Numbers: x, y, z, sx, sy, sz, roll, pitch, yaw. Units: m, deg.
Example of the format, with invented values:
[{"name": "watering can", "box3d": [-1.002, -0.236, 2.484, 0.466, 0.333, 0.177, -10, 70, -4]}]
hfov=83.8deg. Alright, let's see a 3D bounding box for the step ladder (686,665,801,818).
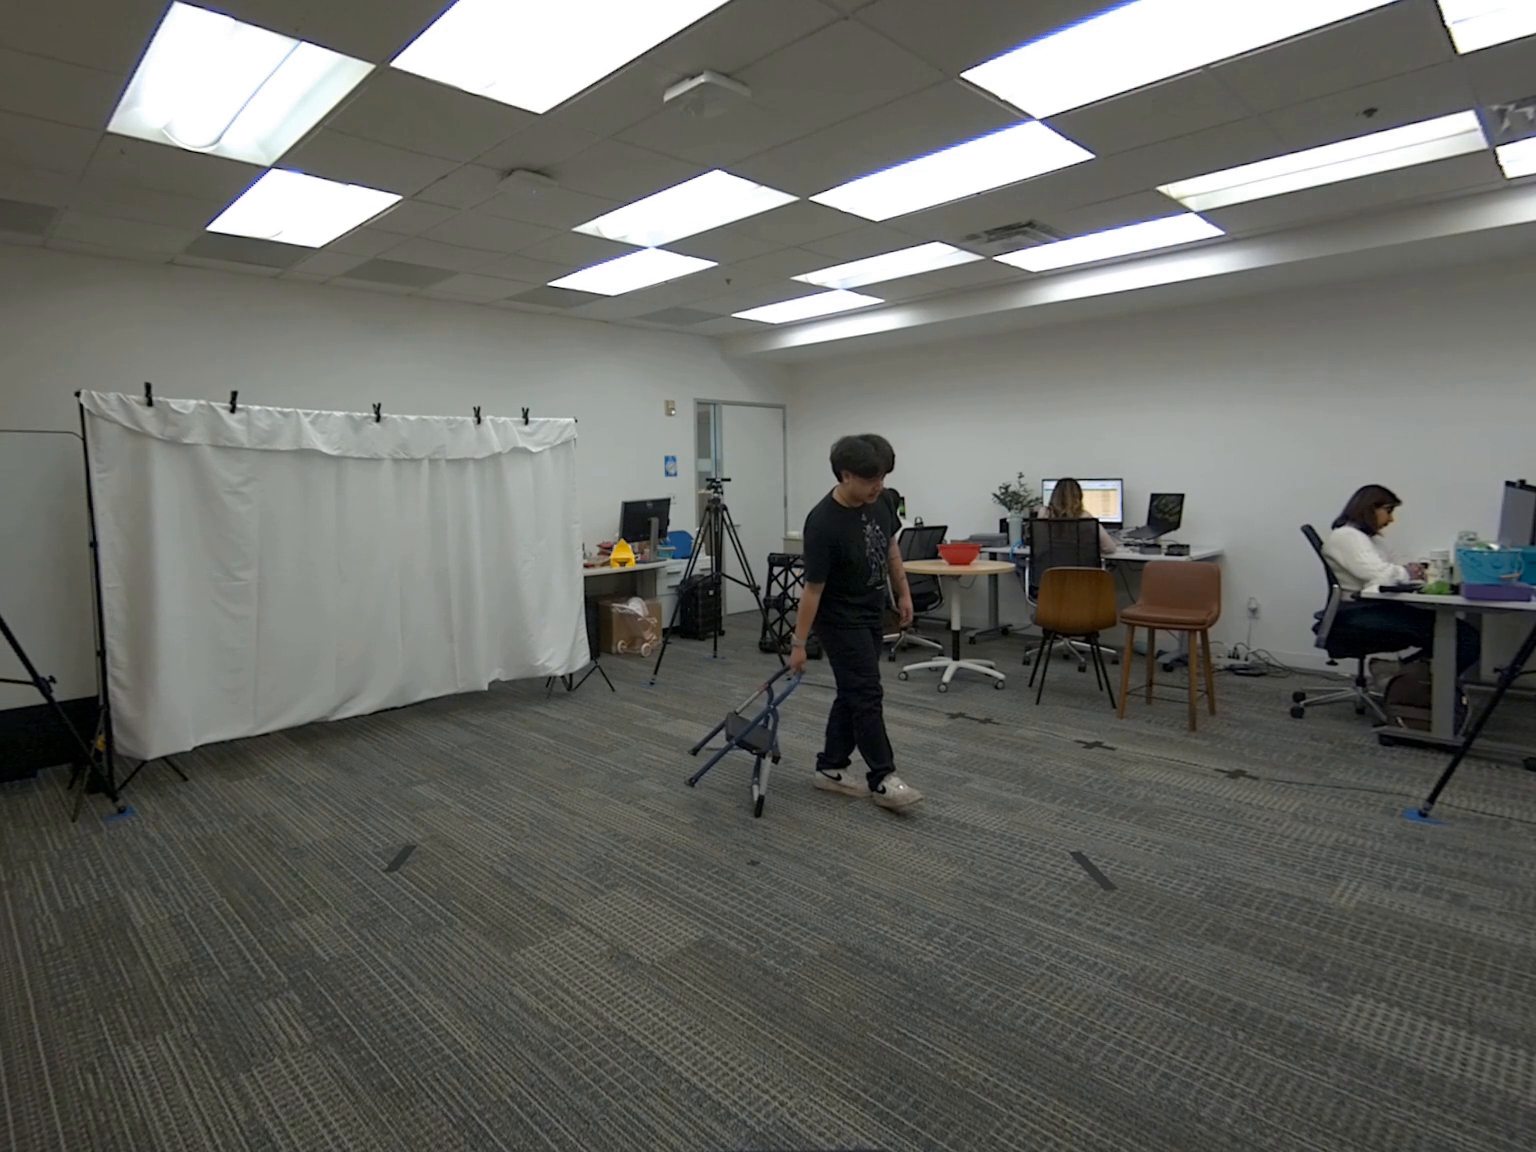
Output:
[{"name": "step ladder", "box3d": [-0.071, 0.642, 3.698, 0.348, 0.605, 0.433, 25, 4, -5]}]
